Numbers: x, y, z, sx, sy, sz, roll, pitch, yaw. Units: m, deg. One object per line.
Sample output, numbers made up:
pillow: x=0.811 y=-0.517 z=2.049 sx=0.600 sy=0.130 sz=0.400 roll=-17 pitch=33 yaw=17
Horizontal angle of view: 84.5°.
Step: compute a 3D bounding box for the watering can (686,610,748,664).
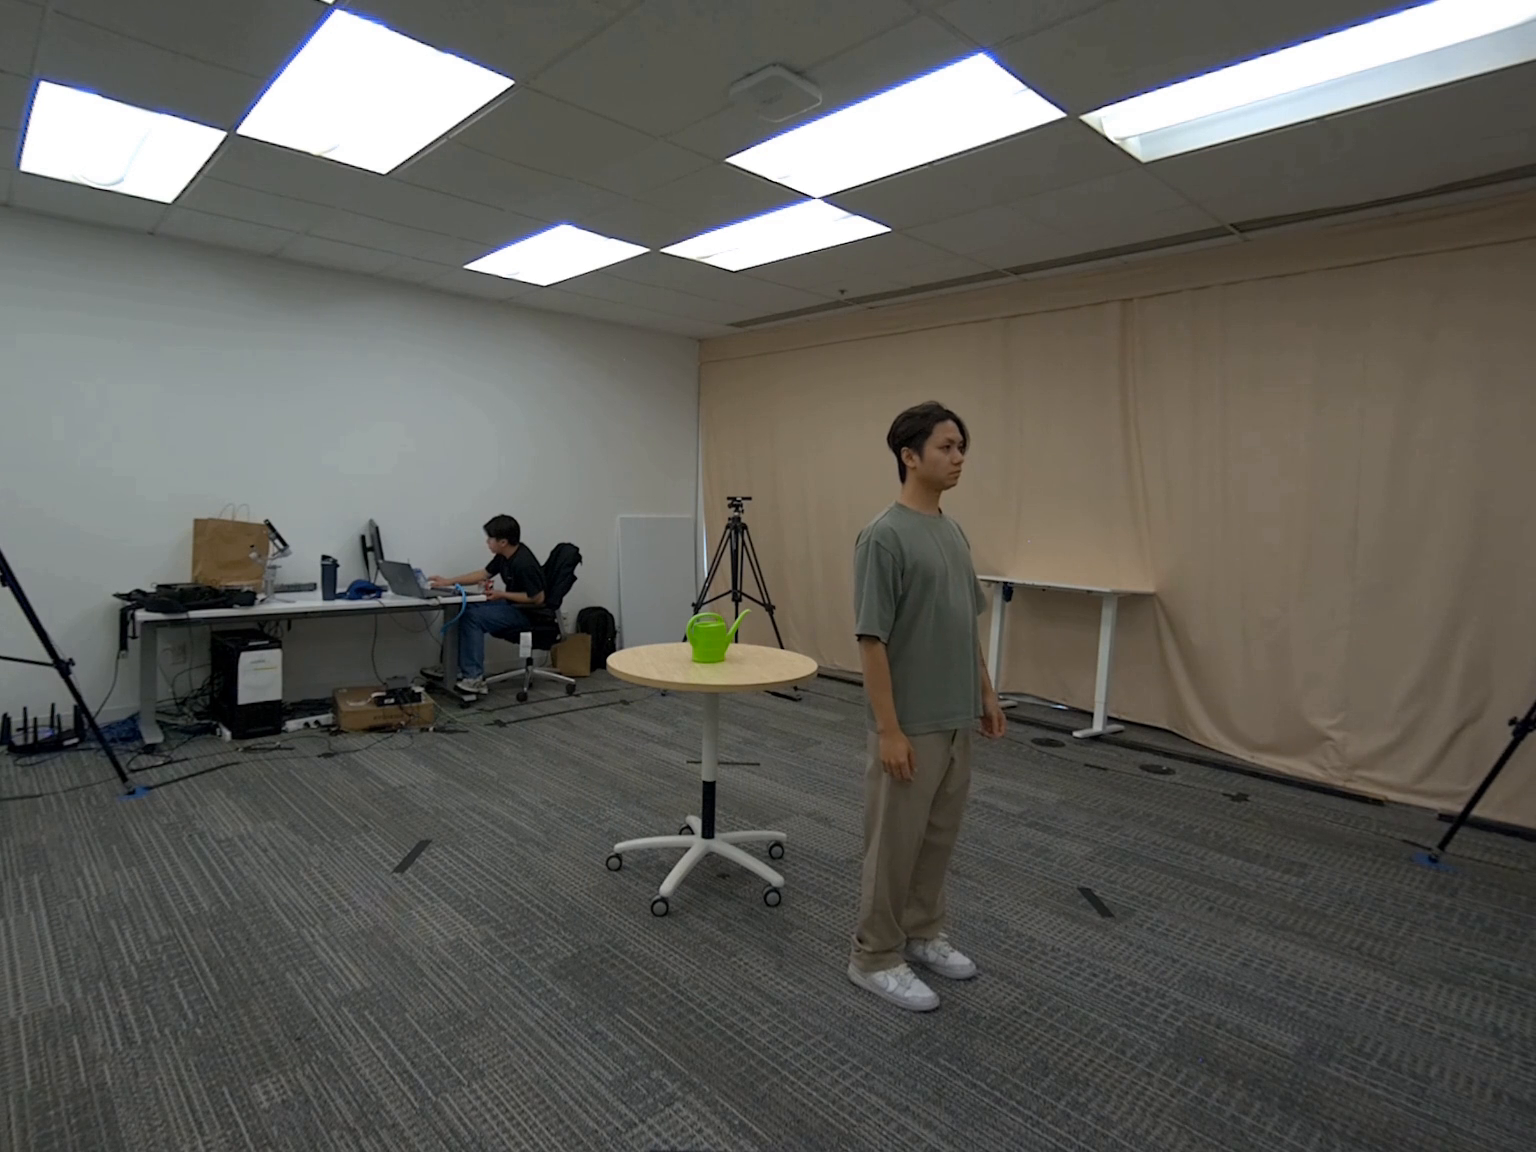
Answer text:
watering can: x=-0.181 y=0.223 z=3.084 sx=0.274 sy=0.176 sz=0.100 roll=-2 pitch=6 yaw=-23
